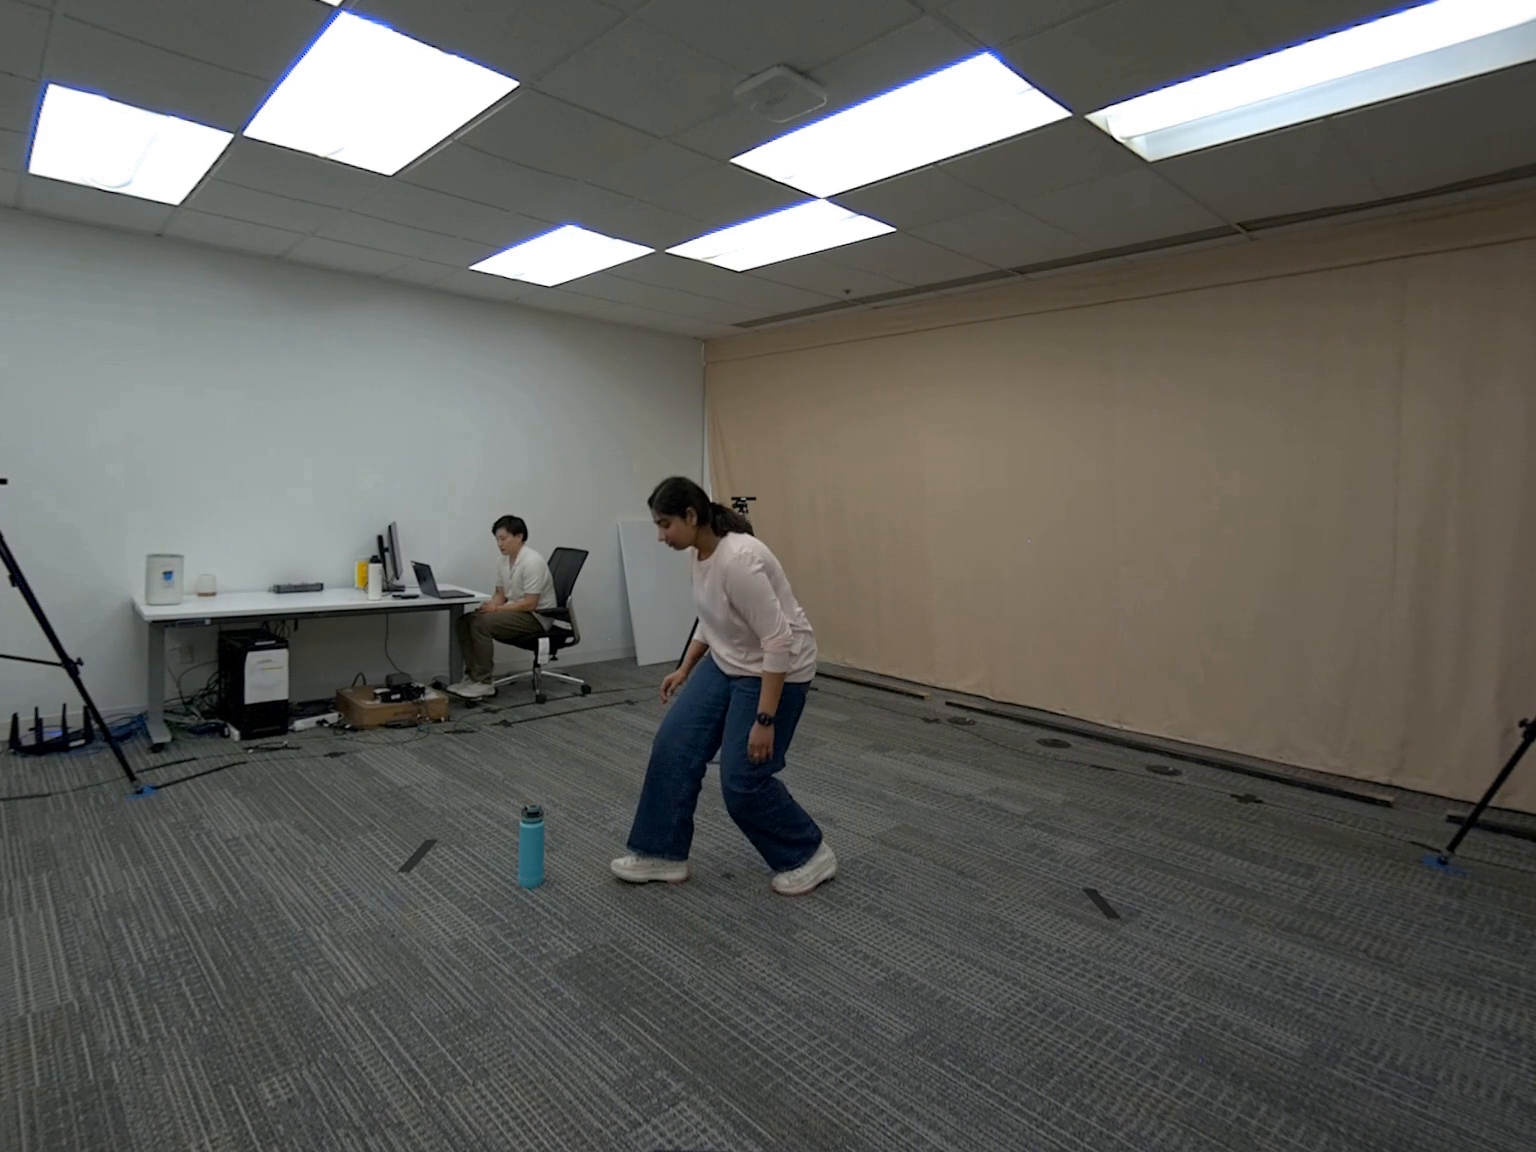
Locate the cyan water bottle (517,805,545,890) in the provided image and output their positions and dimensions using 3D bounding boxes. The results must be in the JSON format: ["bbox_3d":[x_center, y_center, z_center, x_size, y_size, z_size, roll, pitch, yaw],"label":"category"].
[{"bbox_3d":[-0.848,0.953,3.010,0.092,0.283,0.092,1,3,-1],"label":"cyan water bottle"}]
